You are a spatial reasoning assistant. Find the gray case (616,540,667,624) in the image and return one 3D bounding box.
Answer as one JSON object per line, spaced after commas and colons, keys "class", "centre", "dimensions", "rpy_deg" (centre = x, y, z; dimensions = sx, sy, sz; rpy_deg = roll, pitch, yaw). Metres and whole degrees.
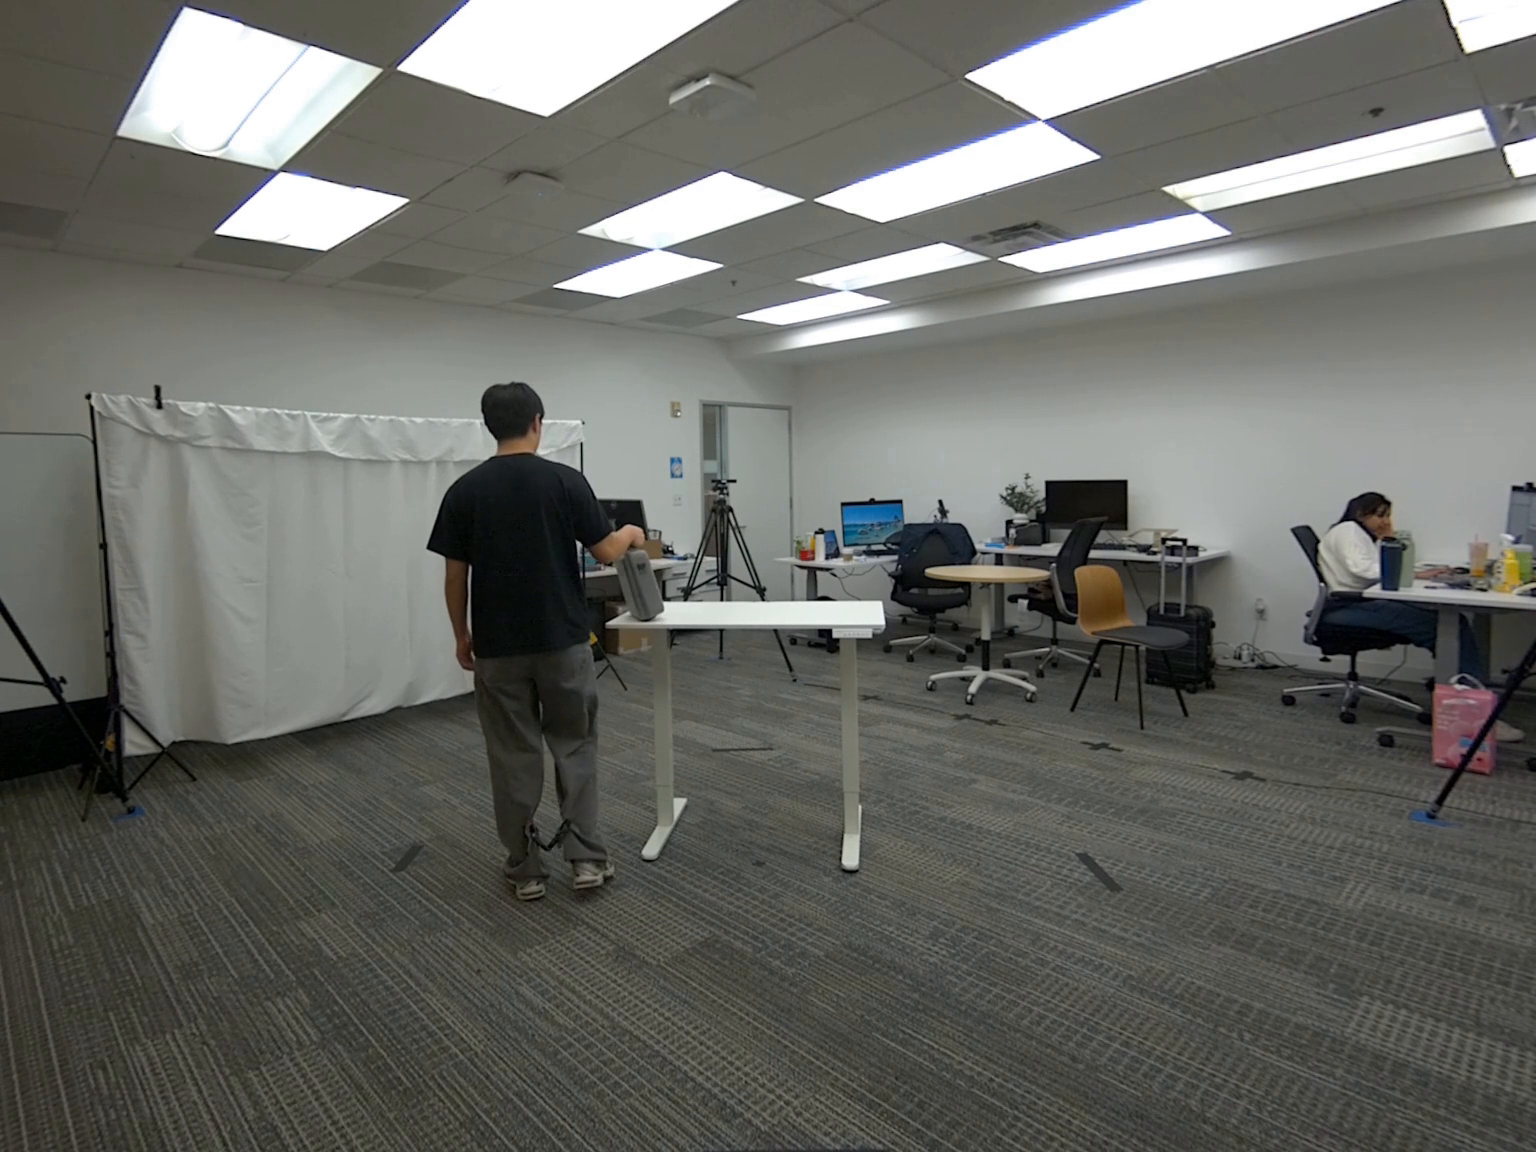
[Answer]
{"class": "gray case", "centre": [-0.489, 0.013, 3.235], "dimensions": [0.102, 0.286, 0.268], "rpy_deg": [-13, 5, -17]}
